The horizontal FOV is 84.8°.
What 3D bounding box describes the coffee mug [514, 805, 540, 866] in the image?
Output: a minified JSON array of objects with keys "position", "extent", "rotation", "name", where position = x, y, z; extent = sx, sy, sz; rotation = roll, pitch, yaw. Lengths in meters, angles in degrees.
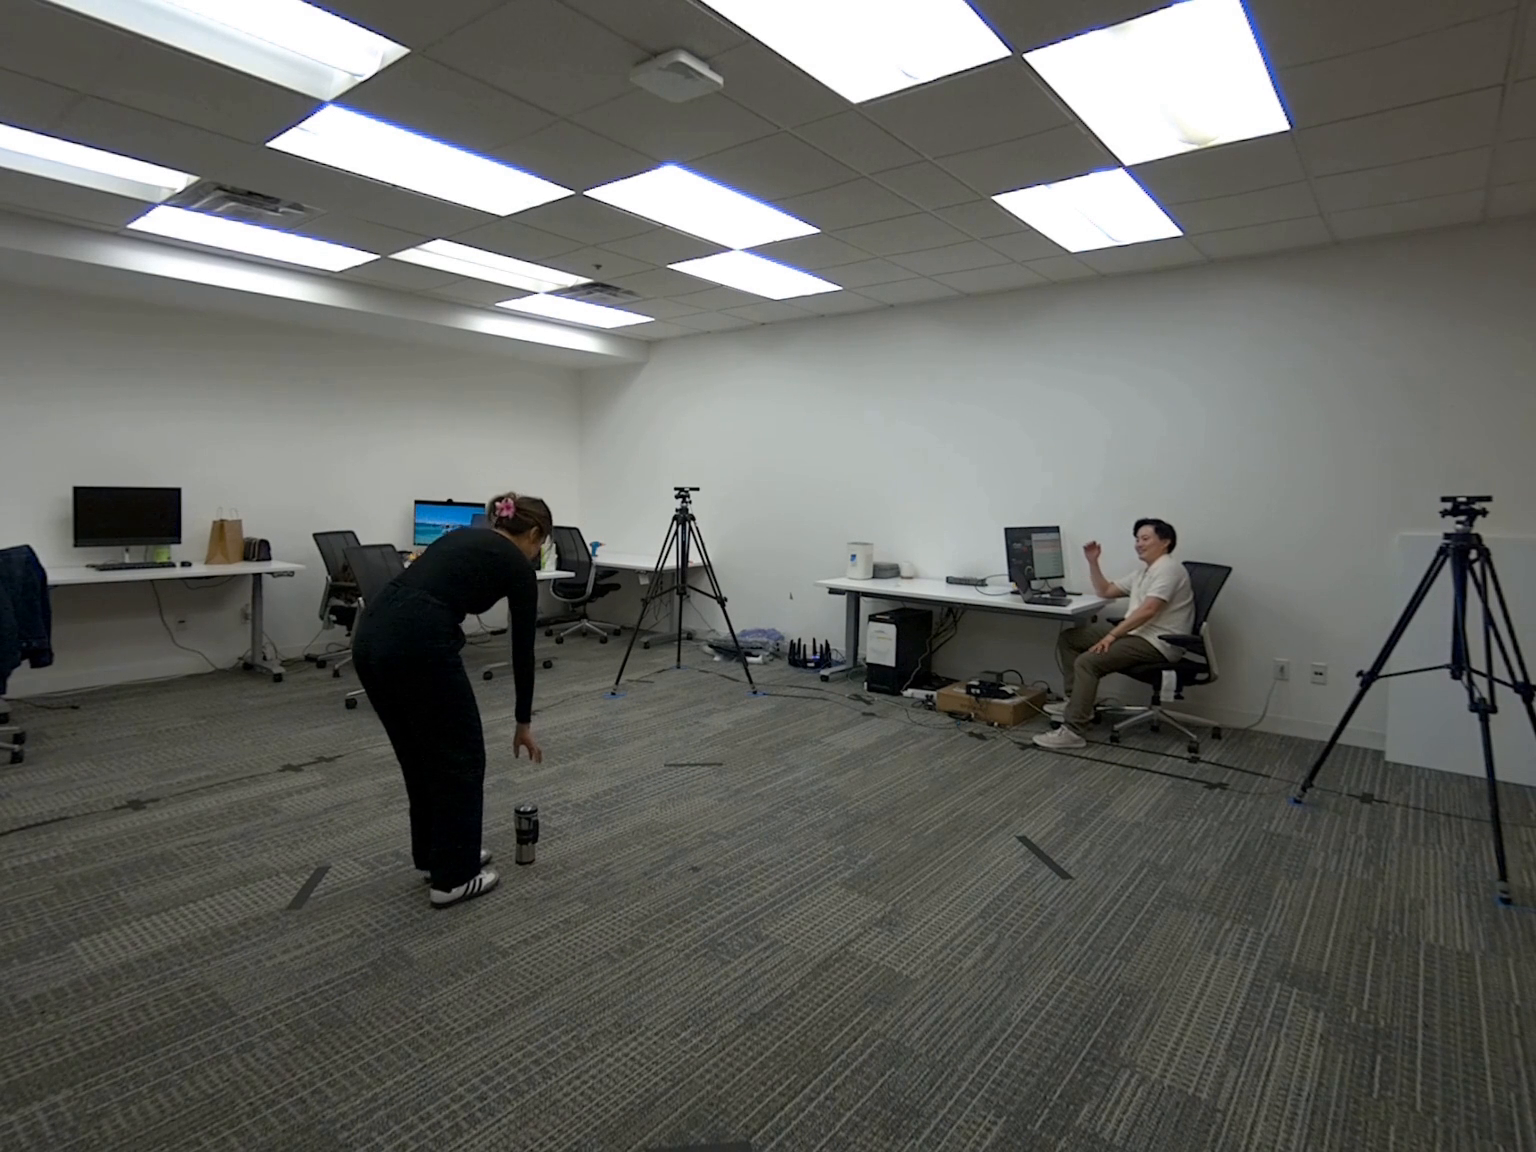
[{"position":[-0.905,0.960,3.119],"extent":[0.086,0.203,0.125],"rotation":[2,1,-22],"name":"coffee mug"}]
